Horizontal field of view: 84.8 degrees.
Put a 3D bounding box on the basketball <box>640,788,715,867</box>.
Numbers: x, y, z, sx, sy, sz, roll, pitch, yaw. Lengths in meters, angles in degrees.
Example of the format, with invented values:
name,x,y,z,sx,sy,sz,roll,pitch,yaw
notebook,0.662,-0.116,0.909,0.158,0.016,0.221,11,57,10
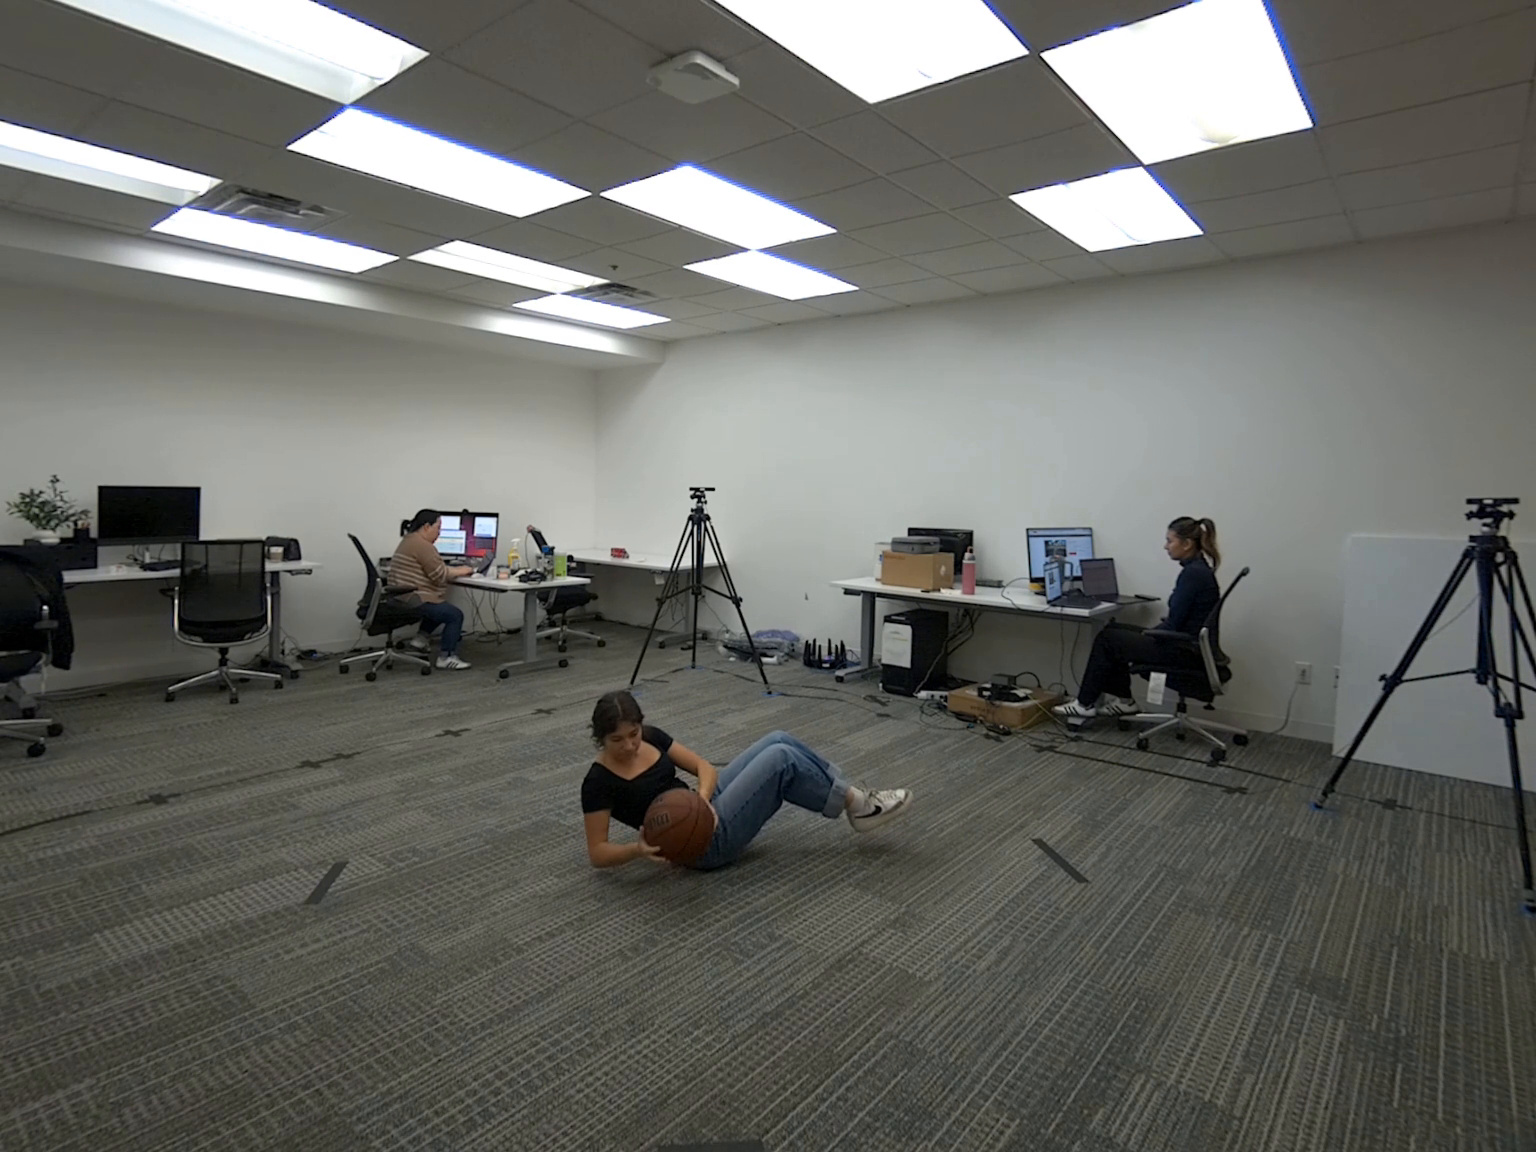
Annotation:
name,x,y,z,sx,sy,sz,roll,pitch,yaw
basketball,-0.311,0.833,2.897,0.235,0.235,0.237,1,4,-2
